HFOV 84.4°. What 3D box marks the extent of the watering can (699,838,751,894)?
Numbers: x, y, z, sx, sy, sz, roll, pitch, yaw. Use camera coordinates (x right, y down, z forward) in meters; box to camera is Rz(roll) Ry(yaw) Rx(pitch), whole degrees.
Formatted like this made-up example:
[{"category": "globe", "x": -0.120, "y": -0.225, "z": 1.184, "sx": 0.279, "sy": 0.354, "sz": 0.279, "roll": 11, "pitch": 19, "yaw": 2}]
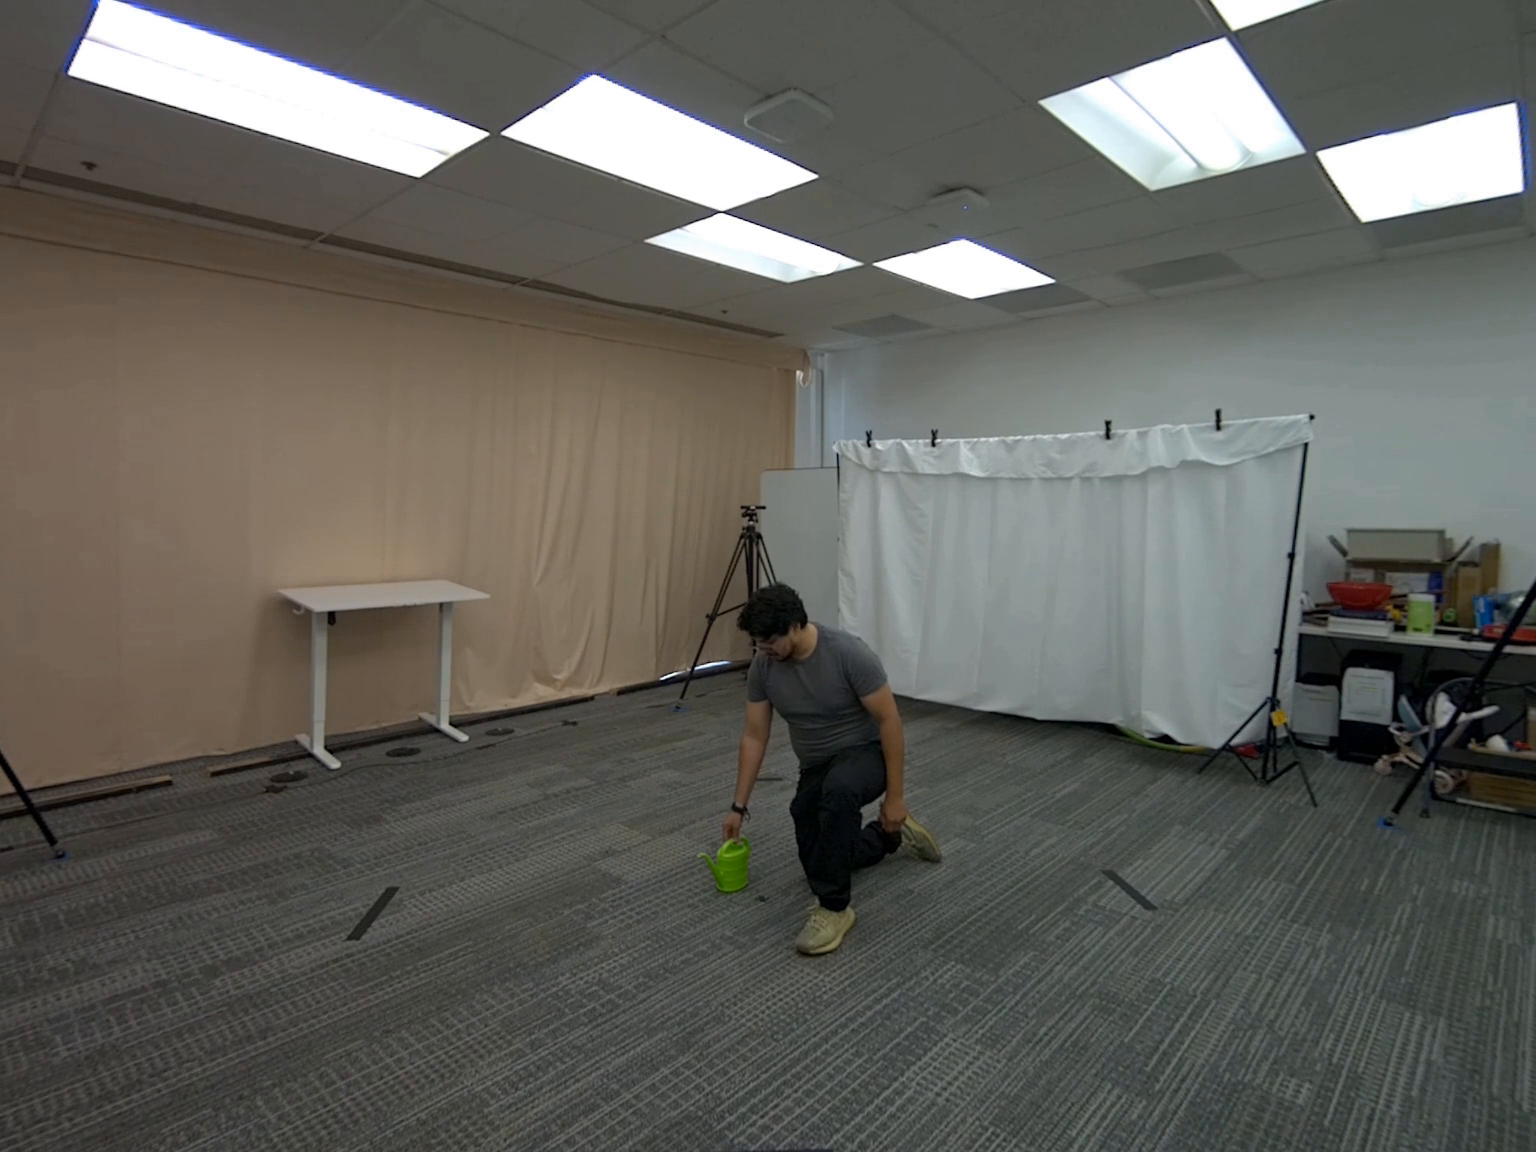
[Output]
[{"category": "watering can", "x": -0.163, "y": 1.054, "z": 3.058, "sx": 0.270, "sy": 0.176, "sz": 0.101, "roll": -3, "pitch": 2, "yaw": -36}]
